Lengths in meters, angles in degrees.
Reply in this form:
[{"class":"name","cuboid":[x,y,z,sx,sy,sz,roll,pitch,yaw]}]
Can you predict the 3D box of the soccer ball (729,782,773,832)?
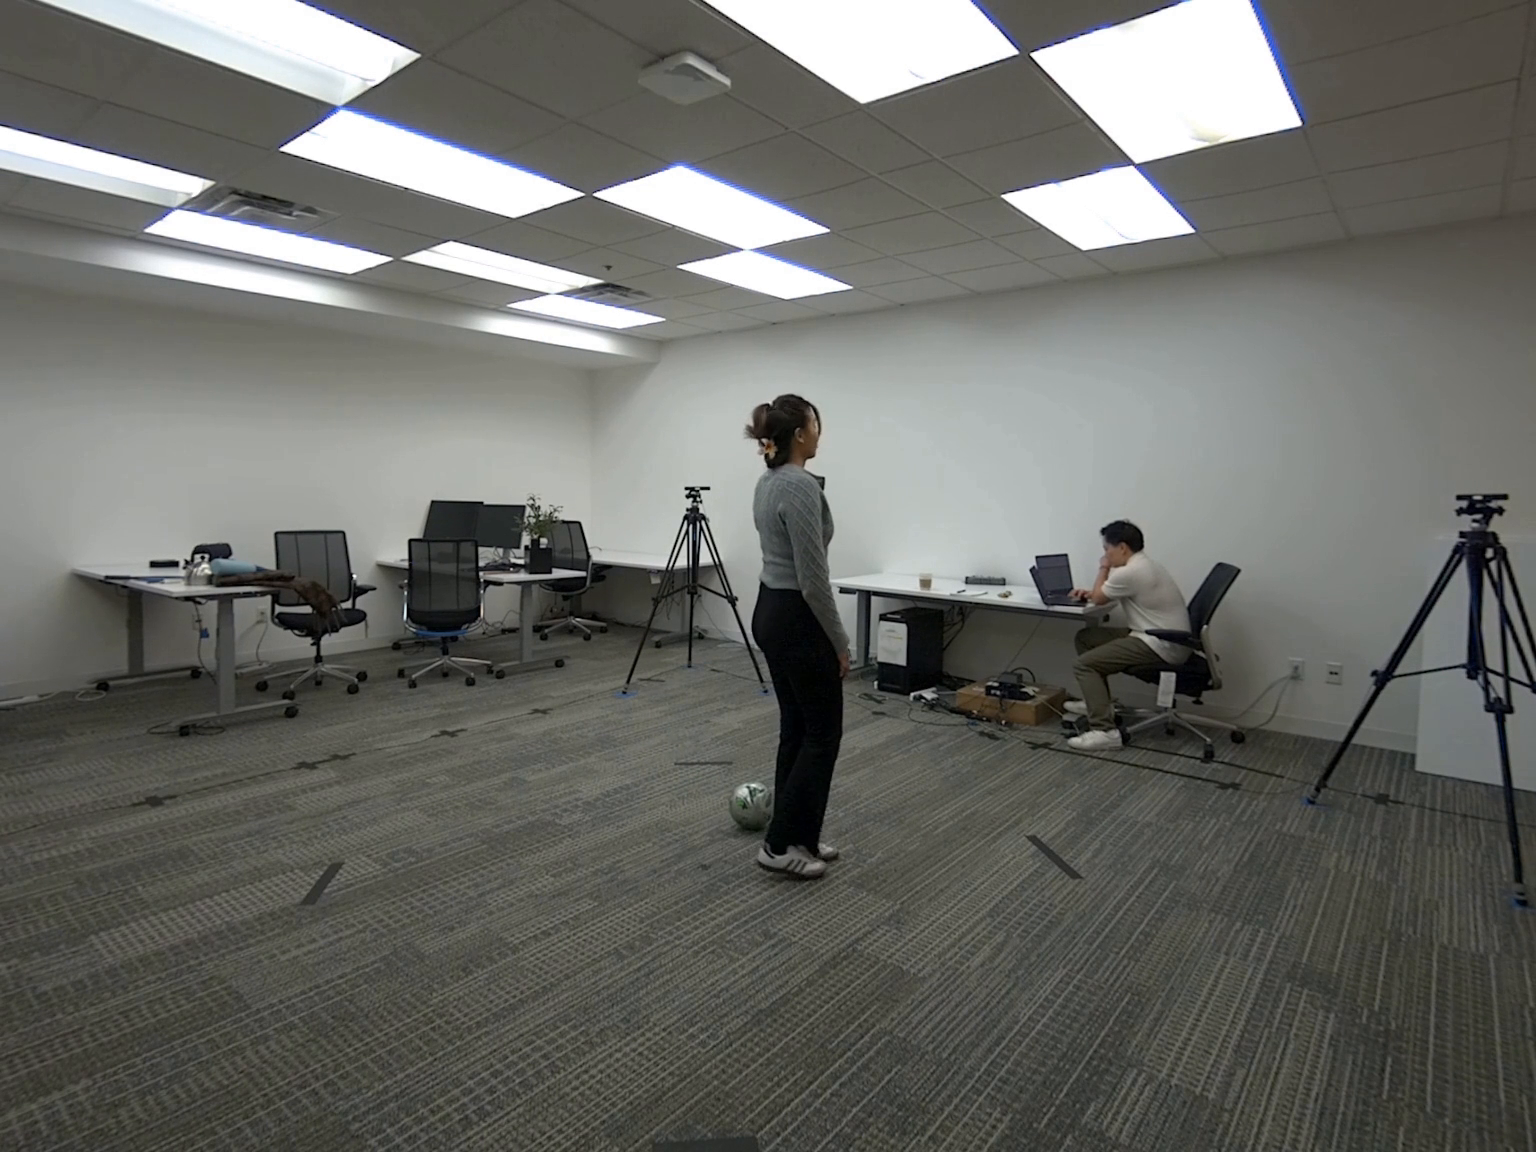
[{"class":"soccer ball","cuboid":[-0.074,0.933,3.490,0.187,0.187,0.188,1,4,-2]}]
